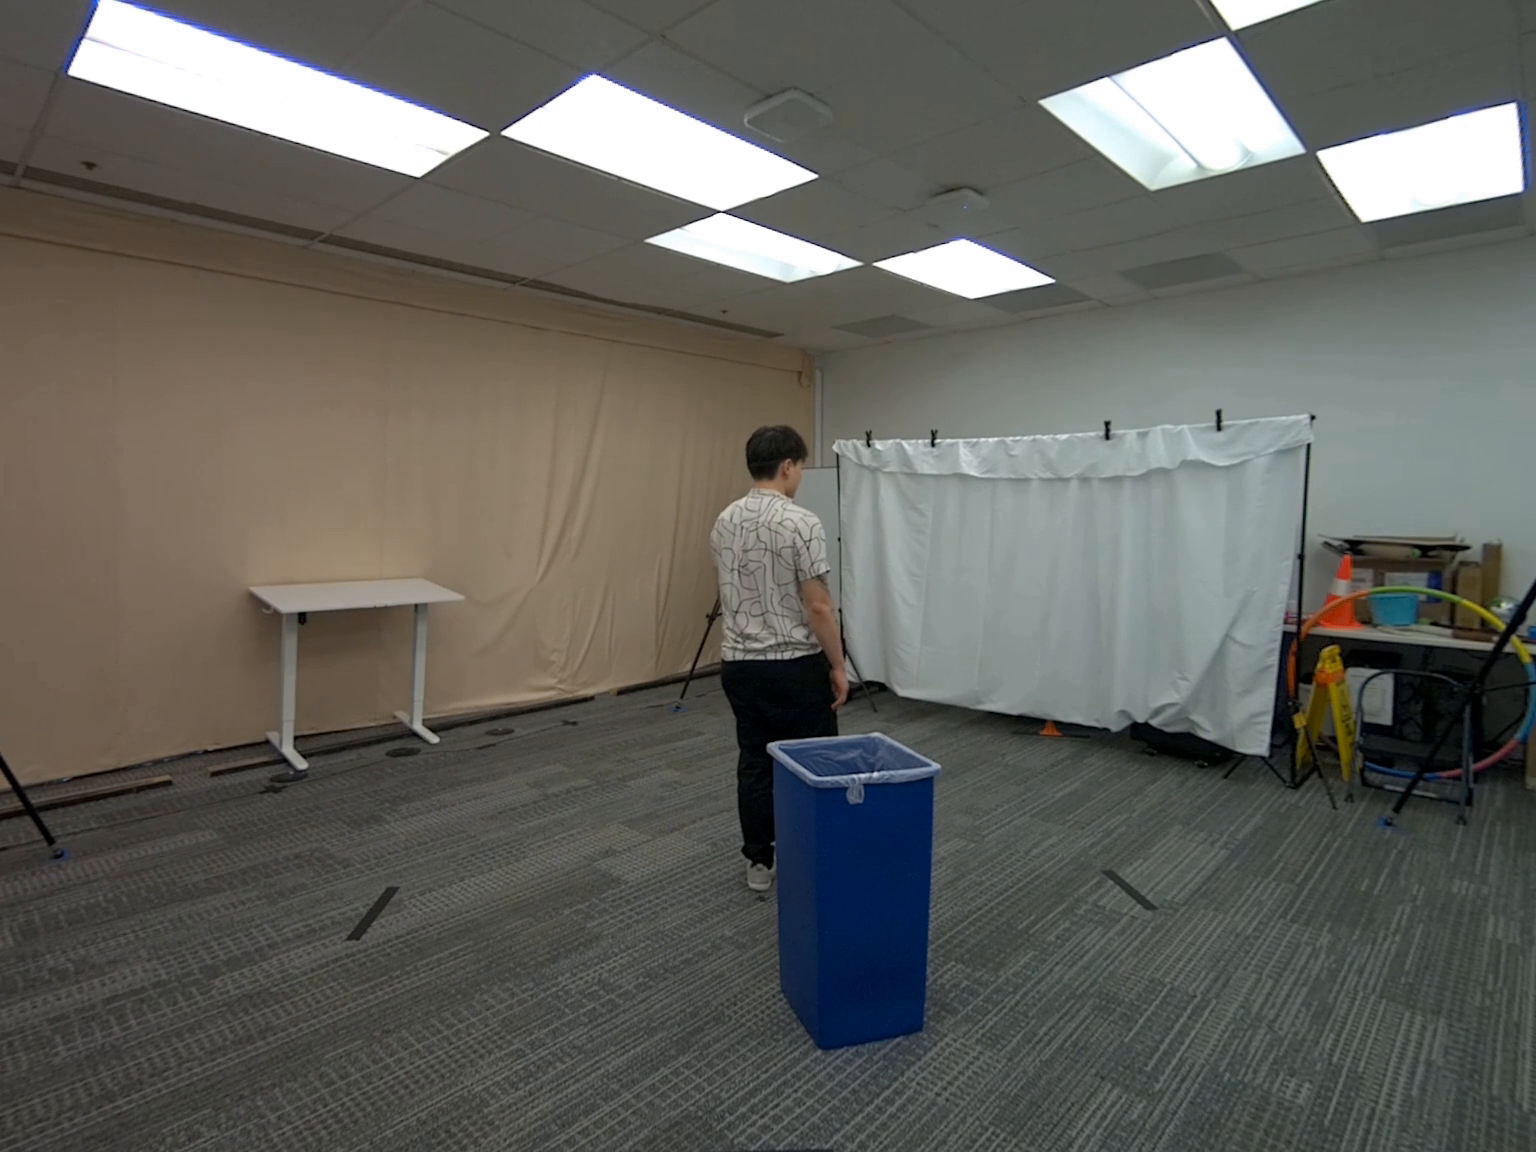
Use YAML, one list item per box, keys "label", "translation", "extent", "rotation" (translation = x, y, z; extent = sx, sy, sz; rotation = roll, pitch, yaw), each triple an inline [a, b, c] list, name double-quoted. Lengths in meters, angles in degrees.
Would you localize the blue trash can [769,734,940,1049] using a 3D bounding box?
- label: "blue trash can"
  translation: [0.223, 0.840, 2.321]
  extent: [0.371, 0.712, 0.382]
  rotation: [-1, 3, -19]
